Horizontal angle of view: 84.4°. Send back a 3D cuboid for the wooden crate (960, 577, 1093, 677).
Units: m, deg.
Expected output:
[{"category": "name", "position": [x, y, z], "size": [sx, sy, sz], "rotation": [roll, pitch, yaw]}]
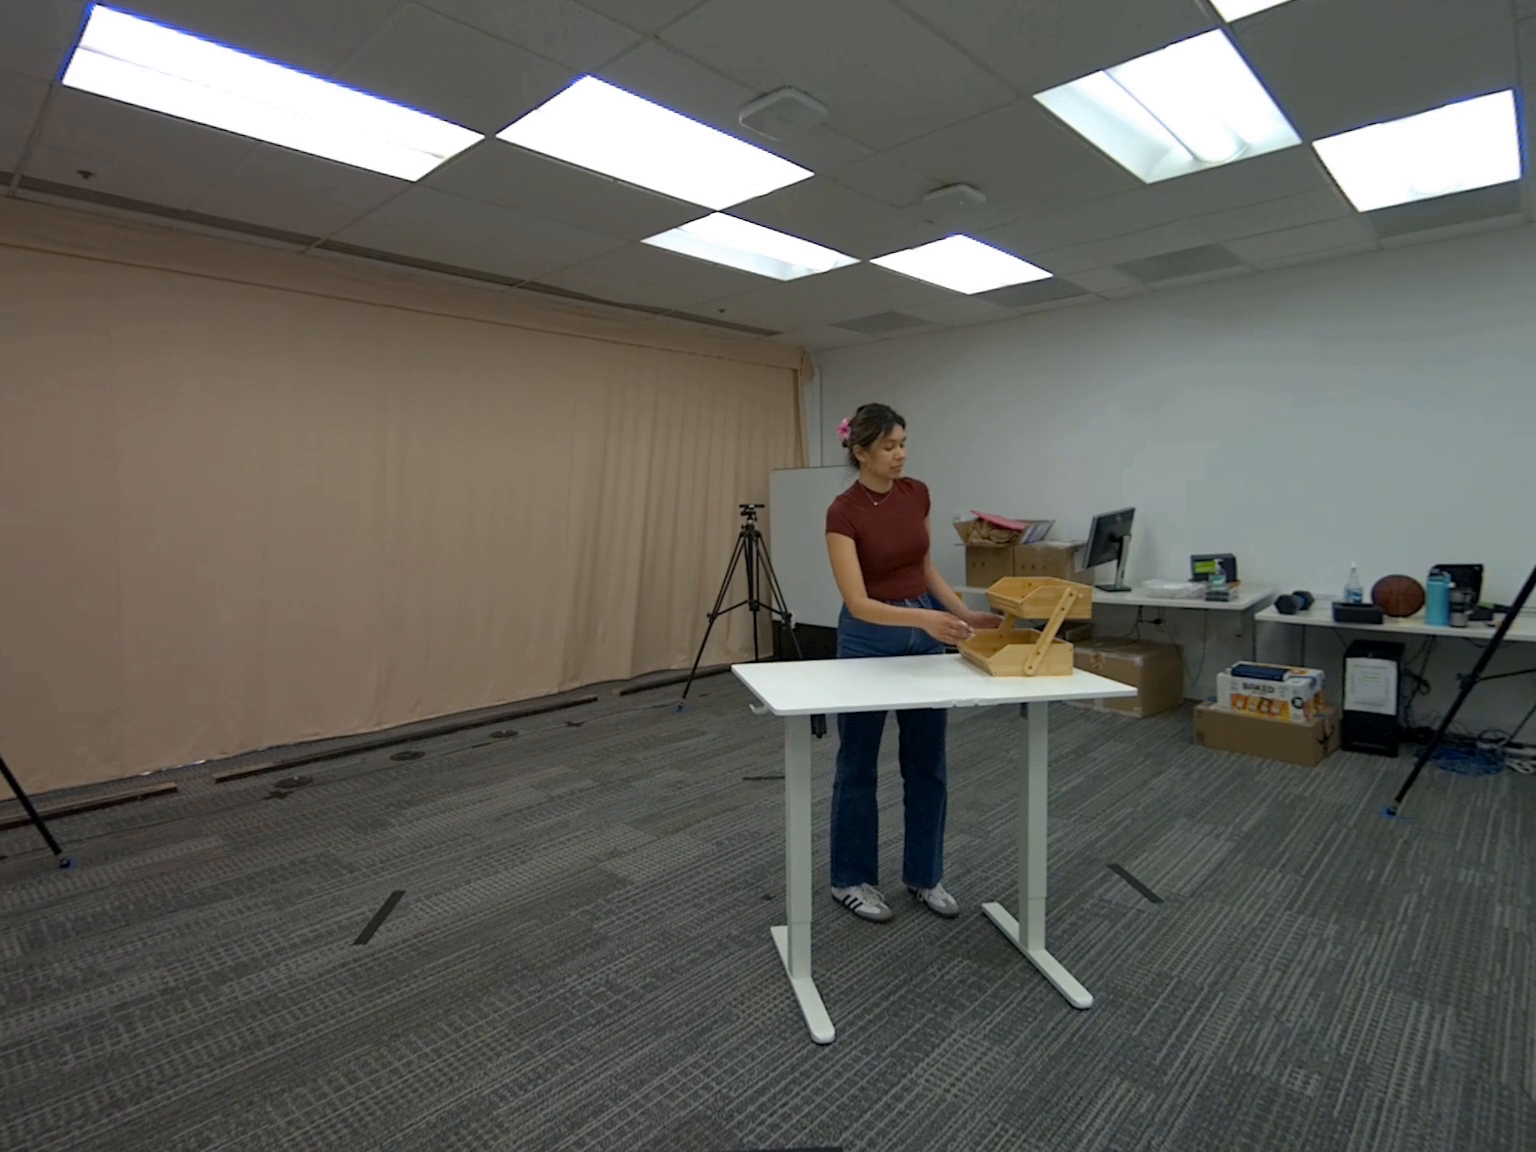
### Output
[{"category": "wooden crate", "position": [0.781, 0.149, 2.577], "size": [0.301, 0.272, 0.326], "rotation": [-1, 4, -3]}]
